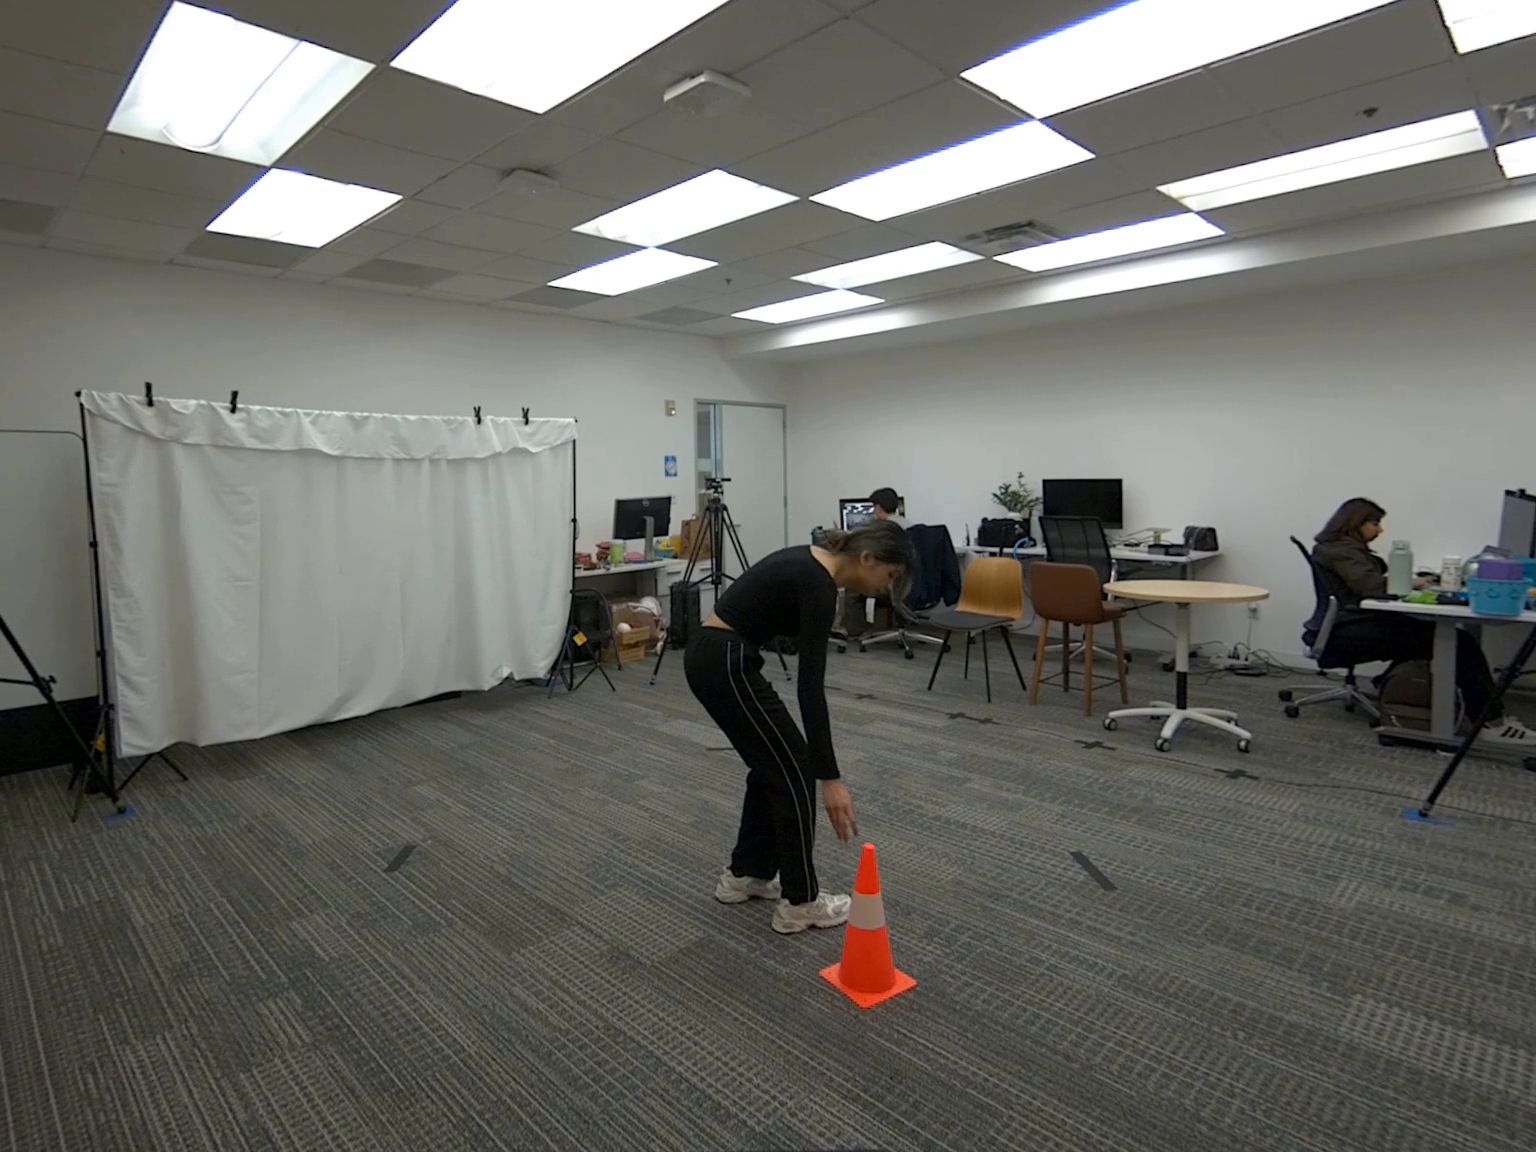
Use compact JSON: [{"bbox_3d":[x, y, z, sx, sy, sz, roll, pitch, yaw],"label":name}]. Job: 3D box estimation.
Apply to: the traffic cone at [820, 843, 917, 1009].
[{"bbox_3d":[0.282,0.940,2.363,0.198,0.382,0.211,-4,6,-34],"label":"traffic cone"}]
